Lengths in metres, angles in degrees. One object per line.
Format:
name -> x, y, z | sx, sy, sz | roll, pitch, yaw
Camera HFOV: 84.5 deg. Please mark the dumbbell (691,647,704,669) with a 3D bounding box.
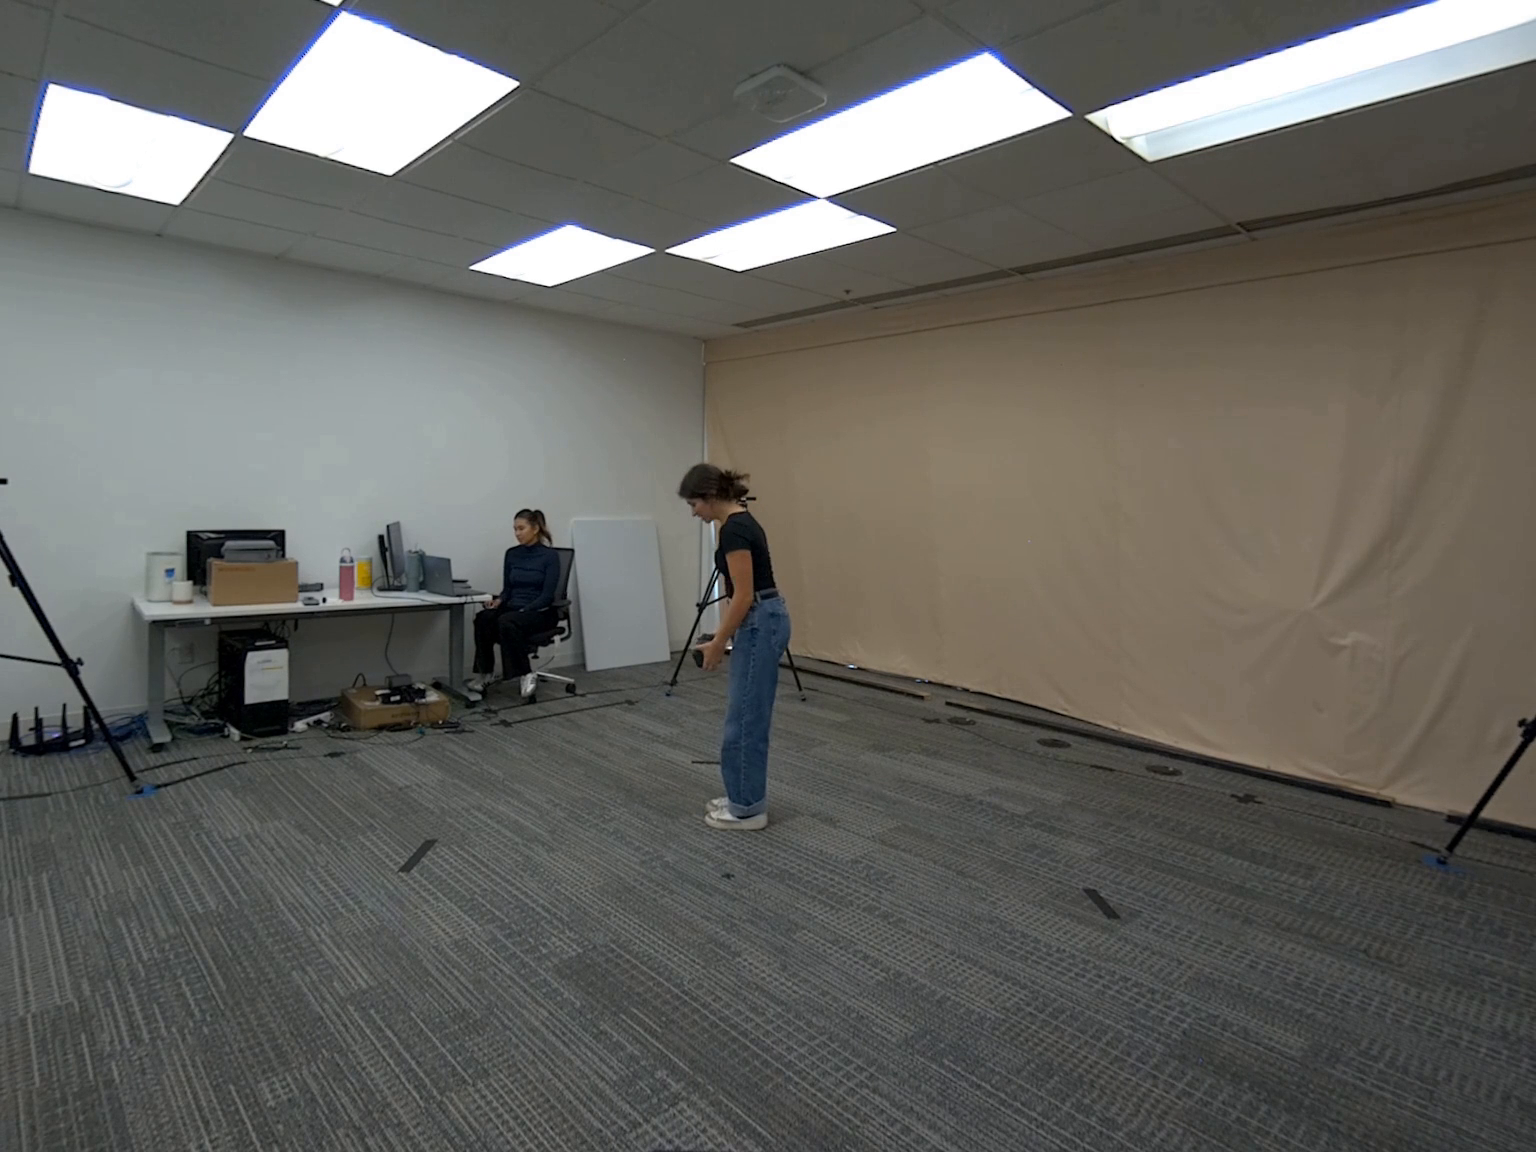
dumbbell -> -0.256, 0.333, 3.633 | 0.109, 0.123, 0.293 | -24, 2, 2
